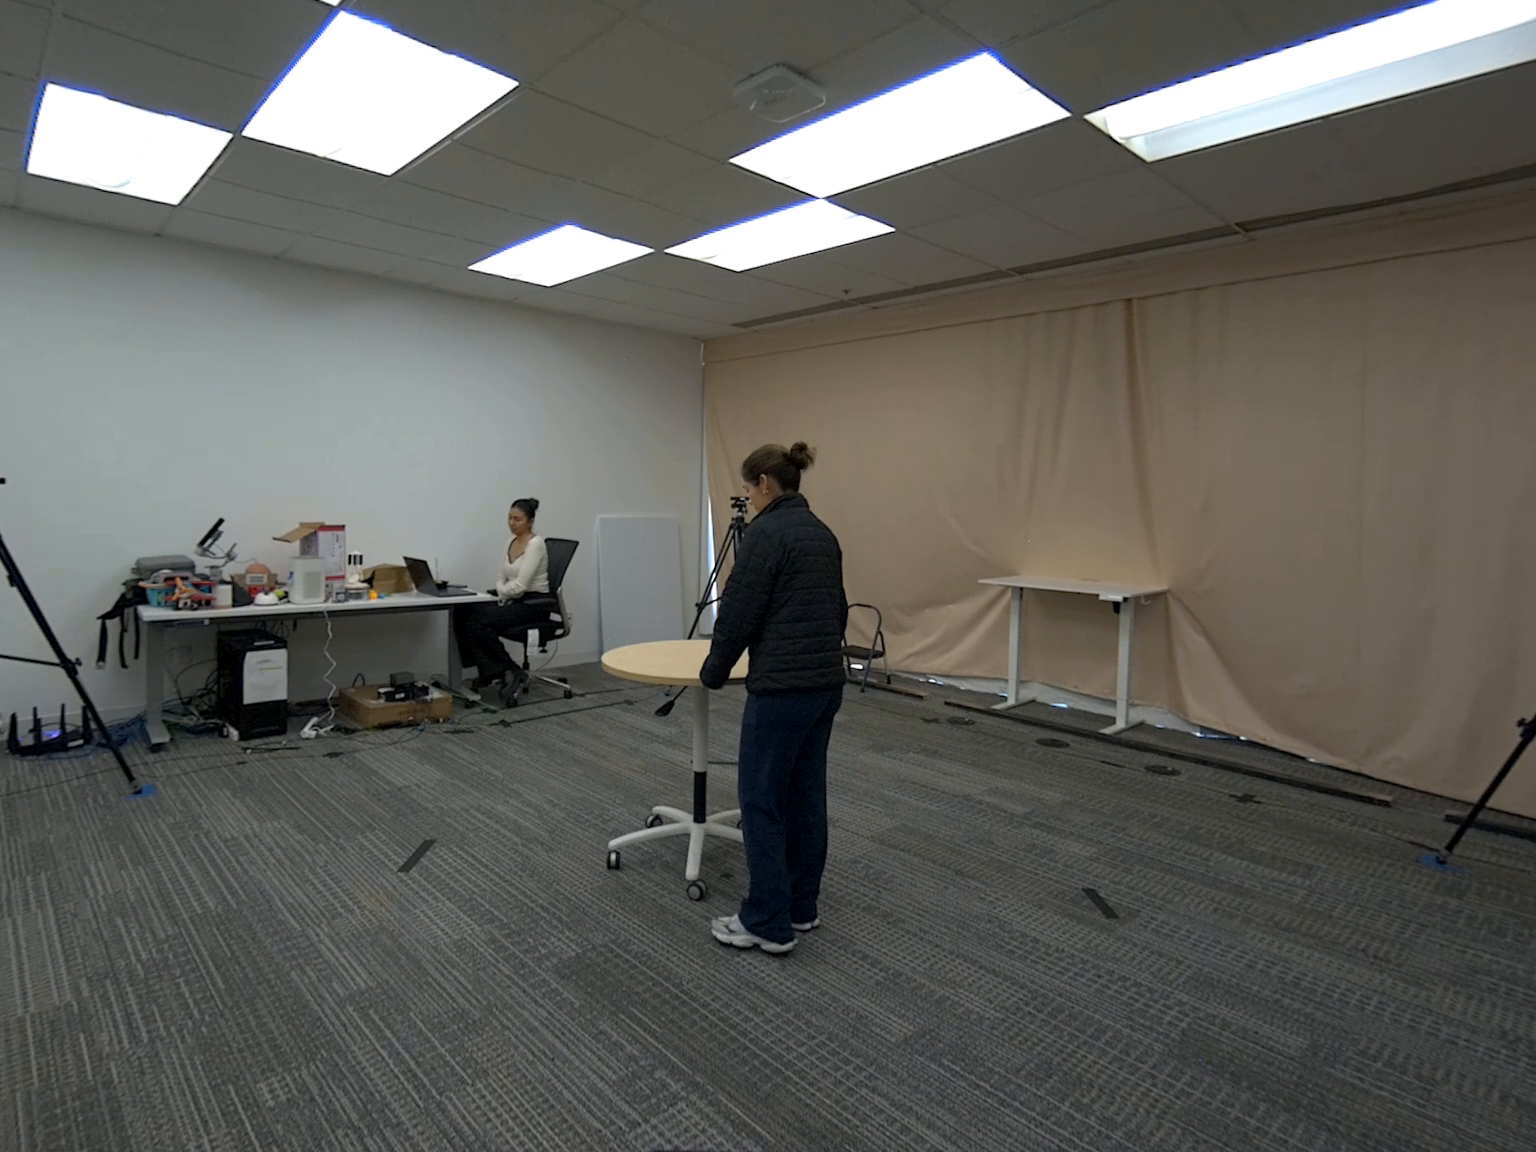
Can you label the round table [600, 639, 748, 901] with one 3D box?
[{"bbox_3d":[-0.278,0.701,3.228,0.784,0.784,0.788,1,4,-1],"label":"round table"}]
